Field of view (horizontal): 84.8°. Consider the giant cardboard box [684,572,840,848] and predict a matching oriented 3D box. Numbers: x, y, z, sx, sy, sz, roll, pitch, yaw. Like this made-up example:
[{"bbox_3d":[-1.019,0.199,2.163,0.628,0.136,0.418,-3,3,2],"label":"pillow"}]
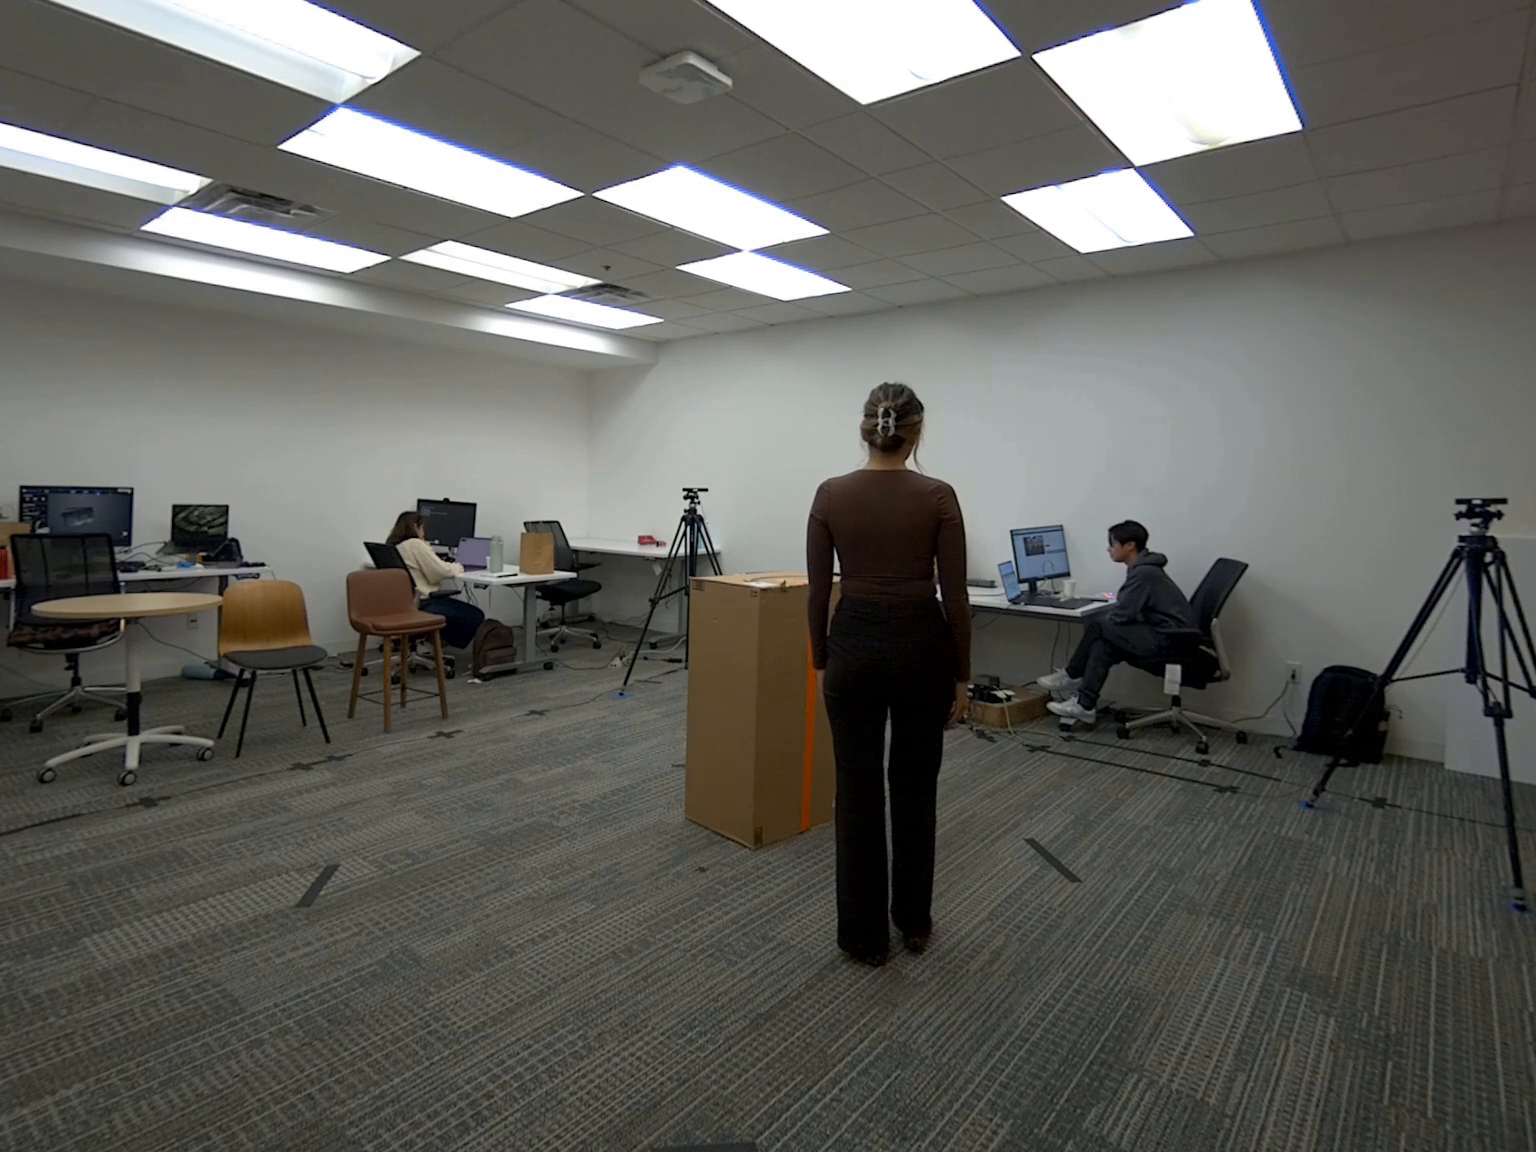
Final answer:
[{"bbox_3d":[-0.003,0.515,3.603,0.566,1.024,0.462,-2,5,-43],"label":"giant cardboard box"}]
